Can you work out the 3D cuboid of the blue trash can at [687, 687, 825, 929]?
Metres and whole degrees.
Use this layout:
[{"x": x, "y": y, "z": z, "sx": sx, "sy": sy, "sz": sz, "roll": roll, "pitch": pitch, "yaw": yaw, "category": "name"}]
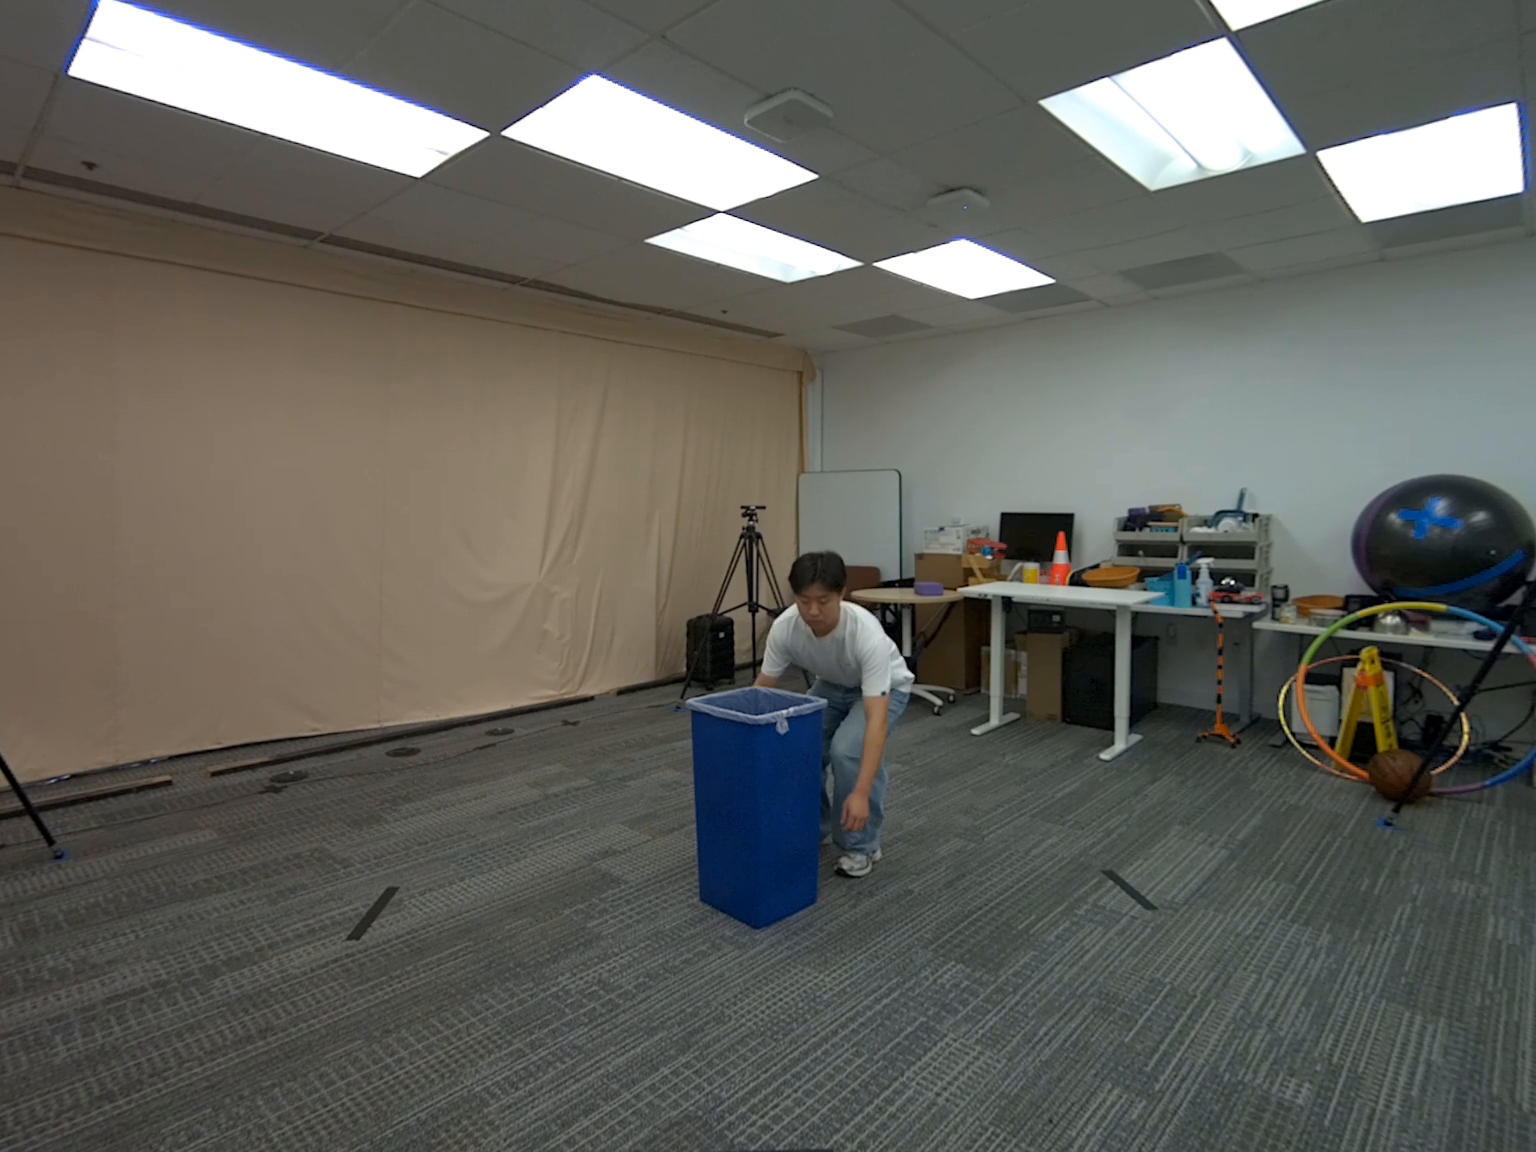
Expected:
[{"x": -0.043, "y": 0.790, "z": 2.950, "sx": 0.366, "sy": 0.712, "sz": 0.386, "roll": -2, "pitch": 4, "yaw": -45, "category": "blue trash can"}]
